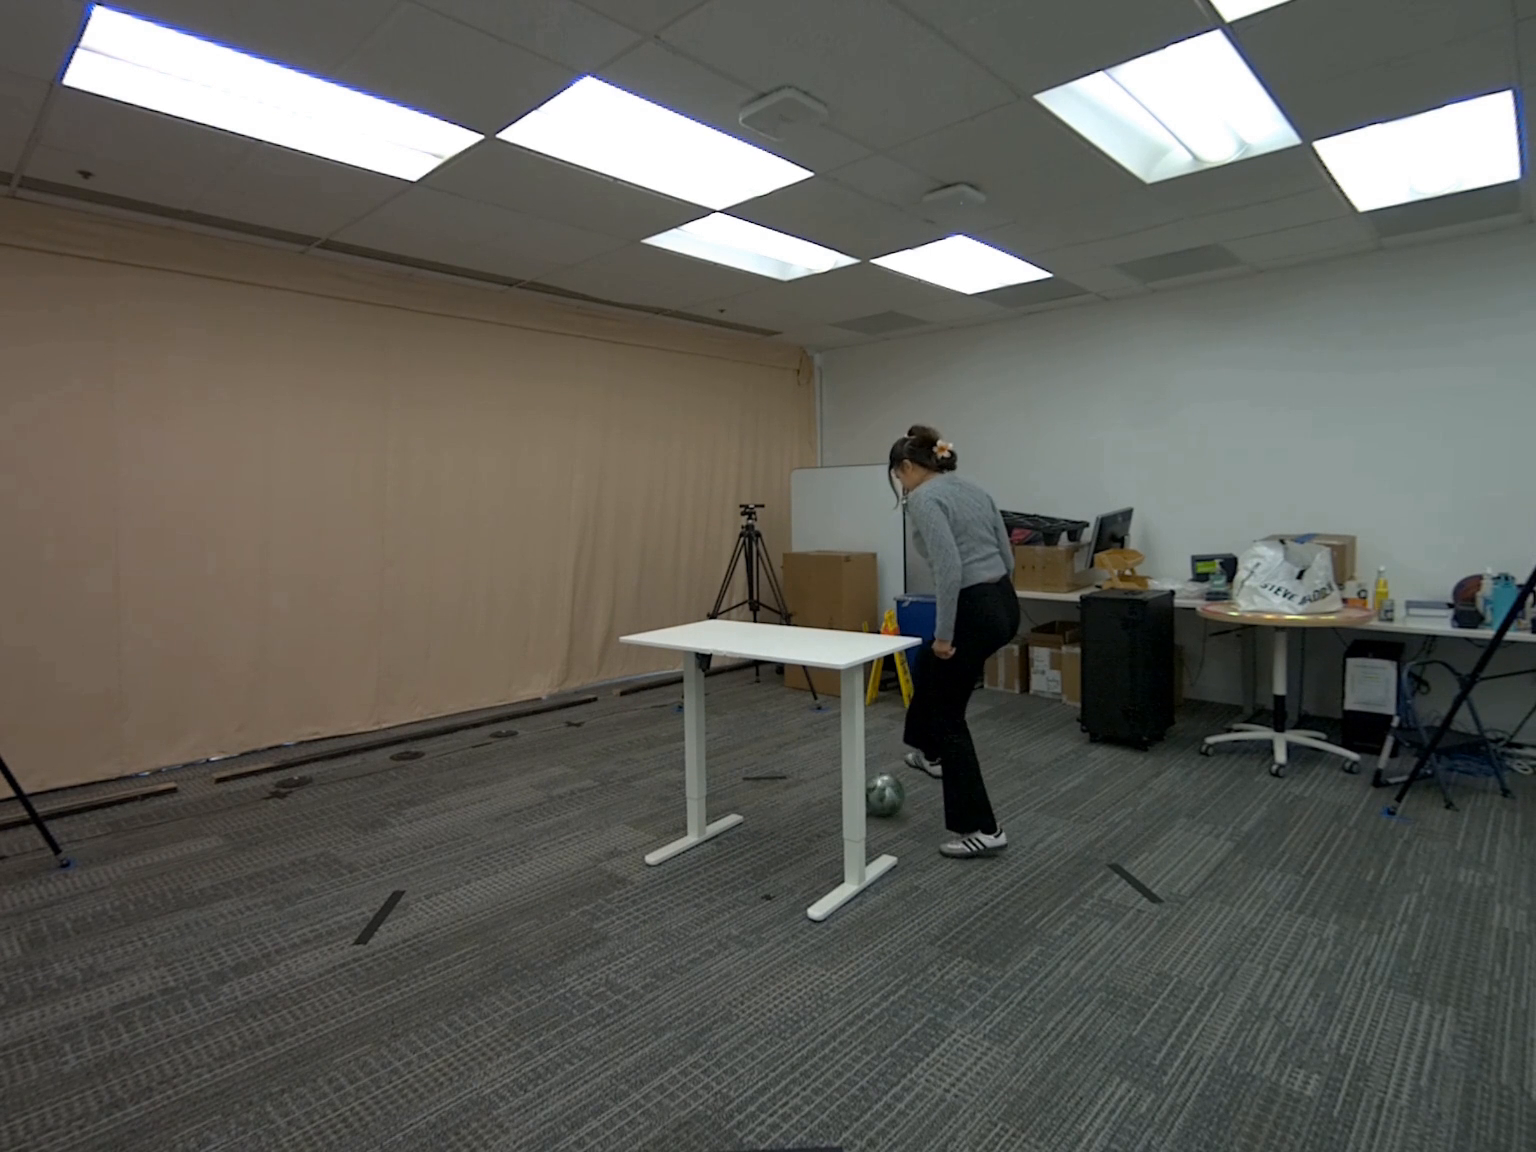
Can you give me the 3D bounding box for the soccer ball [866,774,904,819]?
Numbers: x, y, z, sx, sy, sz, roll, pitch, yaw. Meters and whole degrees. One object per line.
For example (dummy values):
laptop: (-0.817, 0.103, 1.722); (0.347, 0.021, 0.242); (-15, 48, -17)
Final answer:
soccer ball: (0.518, 0.975, 3.761); (0.187, 0.187, 0.188); (-1, 4, -2)
